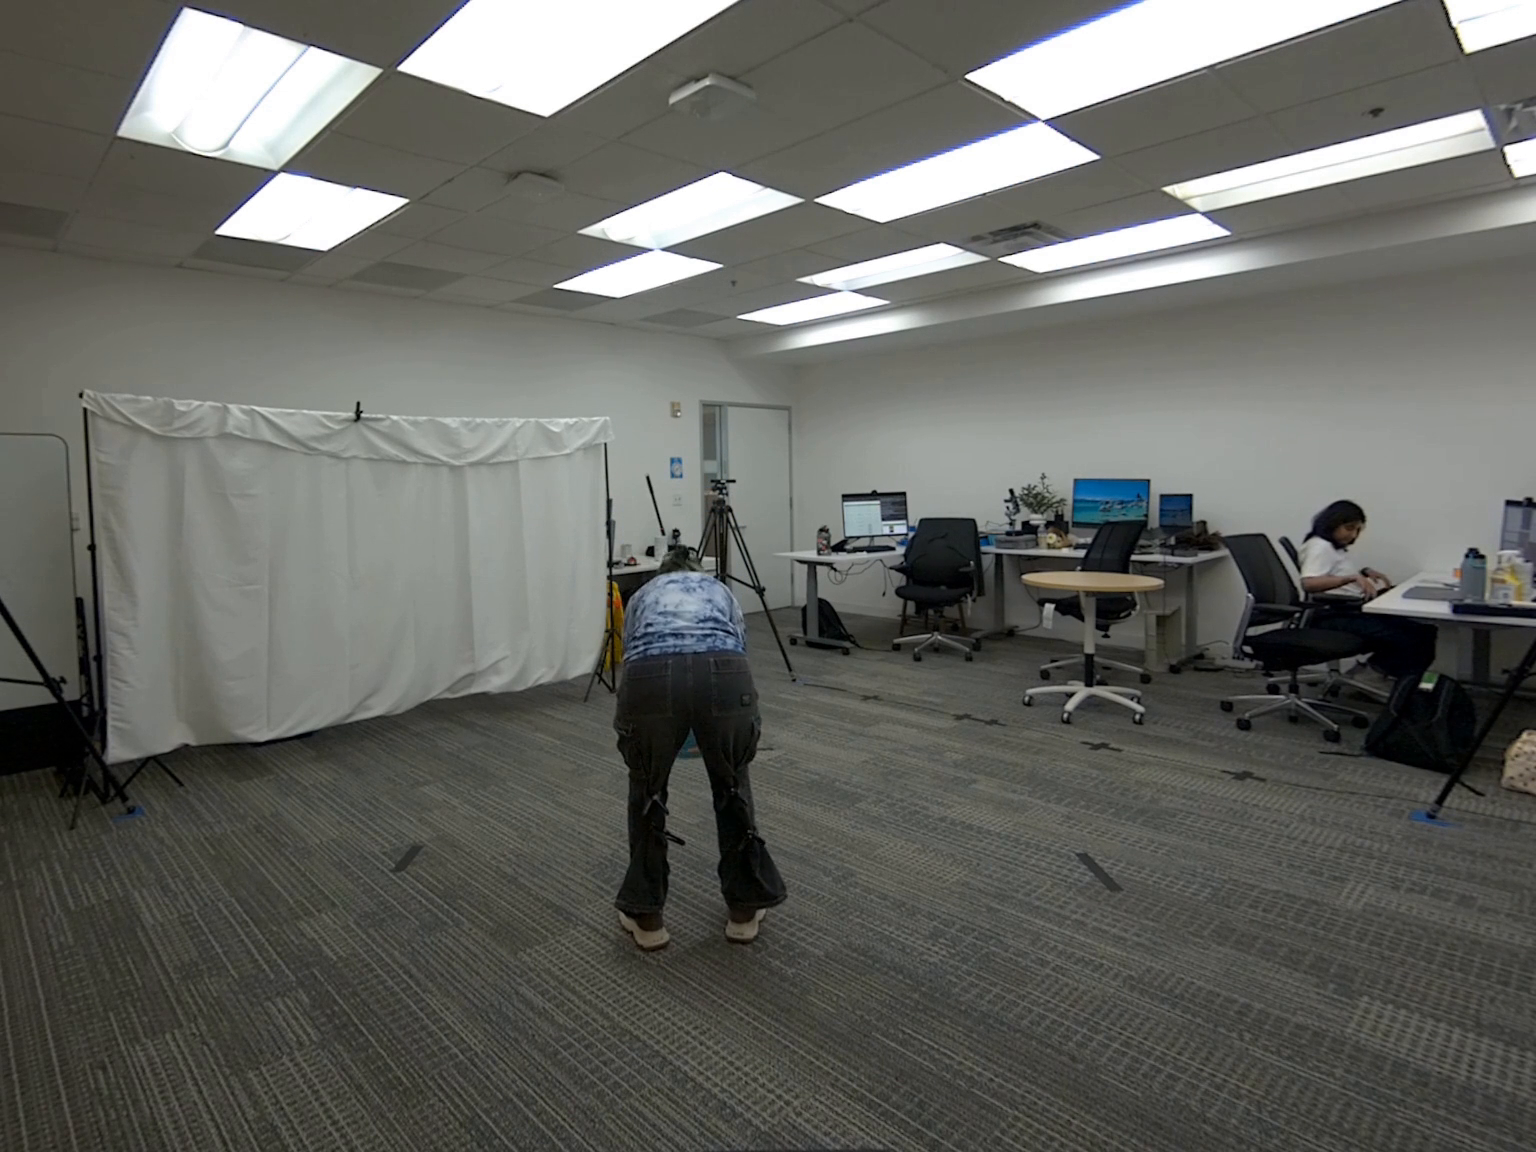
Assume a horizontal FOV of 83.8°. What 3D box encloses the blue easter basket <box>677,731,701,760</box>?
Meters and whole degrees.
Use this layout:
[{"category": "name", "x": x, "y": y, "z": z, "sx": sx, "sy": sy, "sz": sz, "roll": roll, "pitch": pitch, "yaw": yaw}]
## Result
[{"category": "blue easter basket", "x": -0.270, "y": 0.551, "z": 3.039, "sx": 0.243, "sy": 0.155, "sz": 0.245, "roll": -5, "pitch": 5, "yaw": -1}]
